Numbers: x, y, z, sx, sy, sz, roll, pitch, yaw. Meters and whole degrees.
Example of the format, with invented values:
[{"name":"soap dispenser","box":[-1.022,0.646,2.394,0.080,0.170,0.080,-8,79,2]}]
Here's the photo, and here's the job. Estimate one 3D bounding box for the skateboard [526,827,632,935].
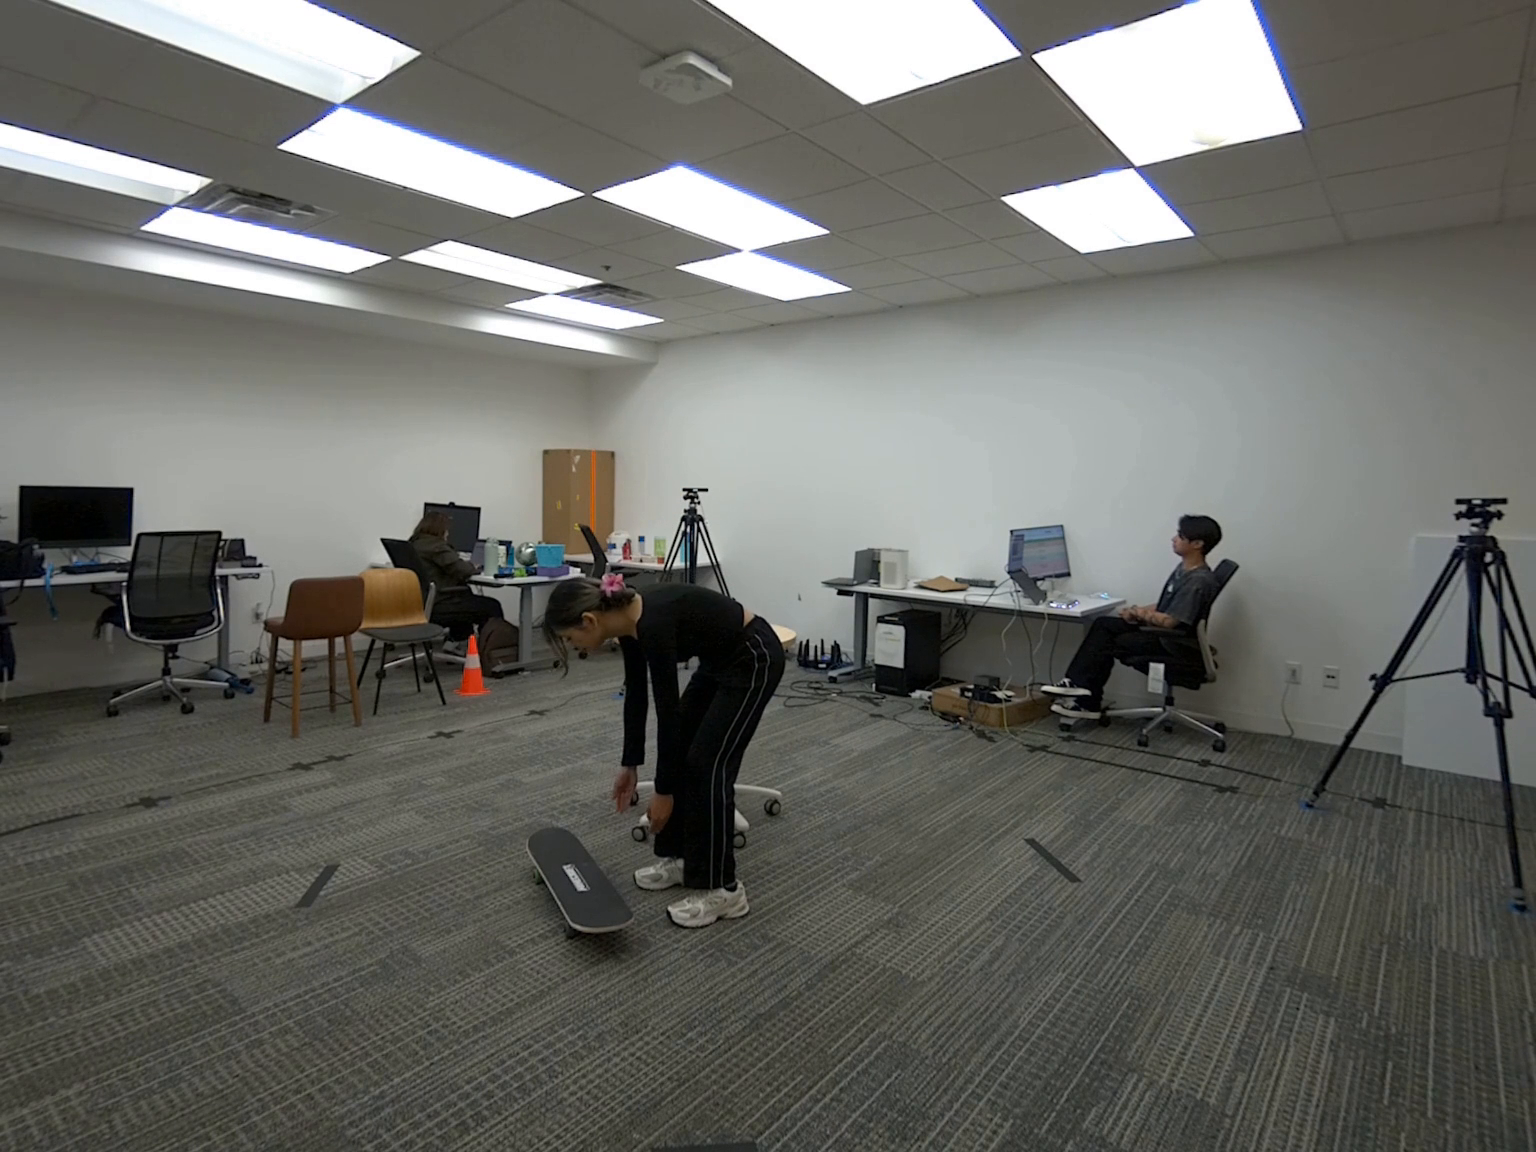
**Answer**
[{"name":"skateboard","box":[-0.645,1.028,2.829,0.189,0.110,0.808,-2,6,-28]}]
